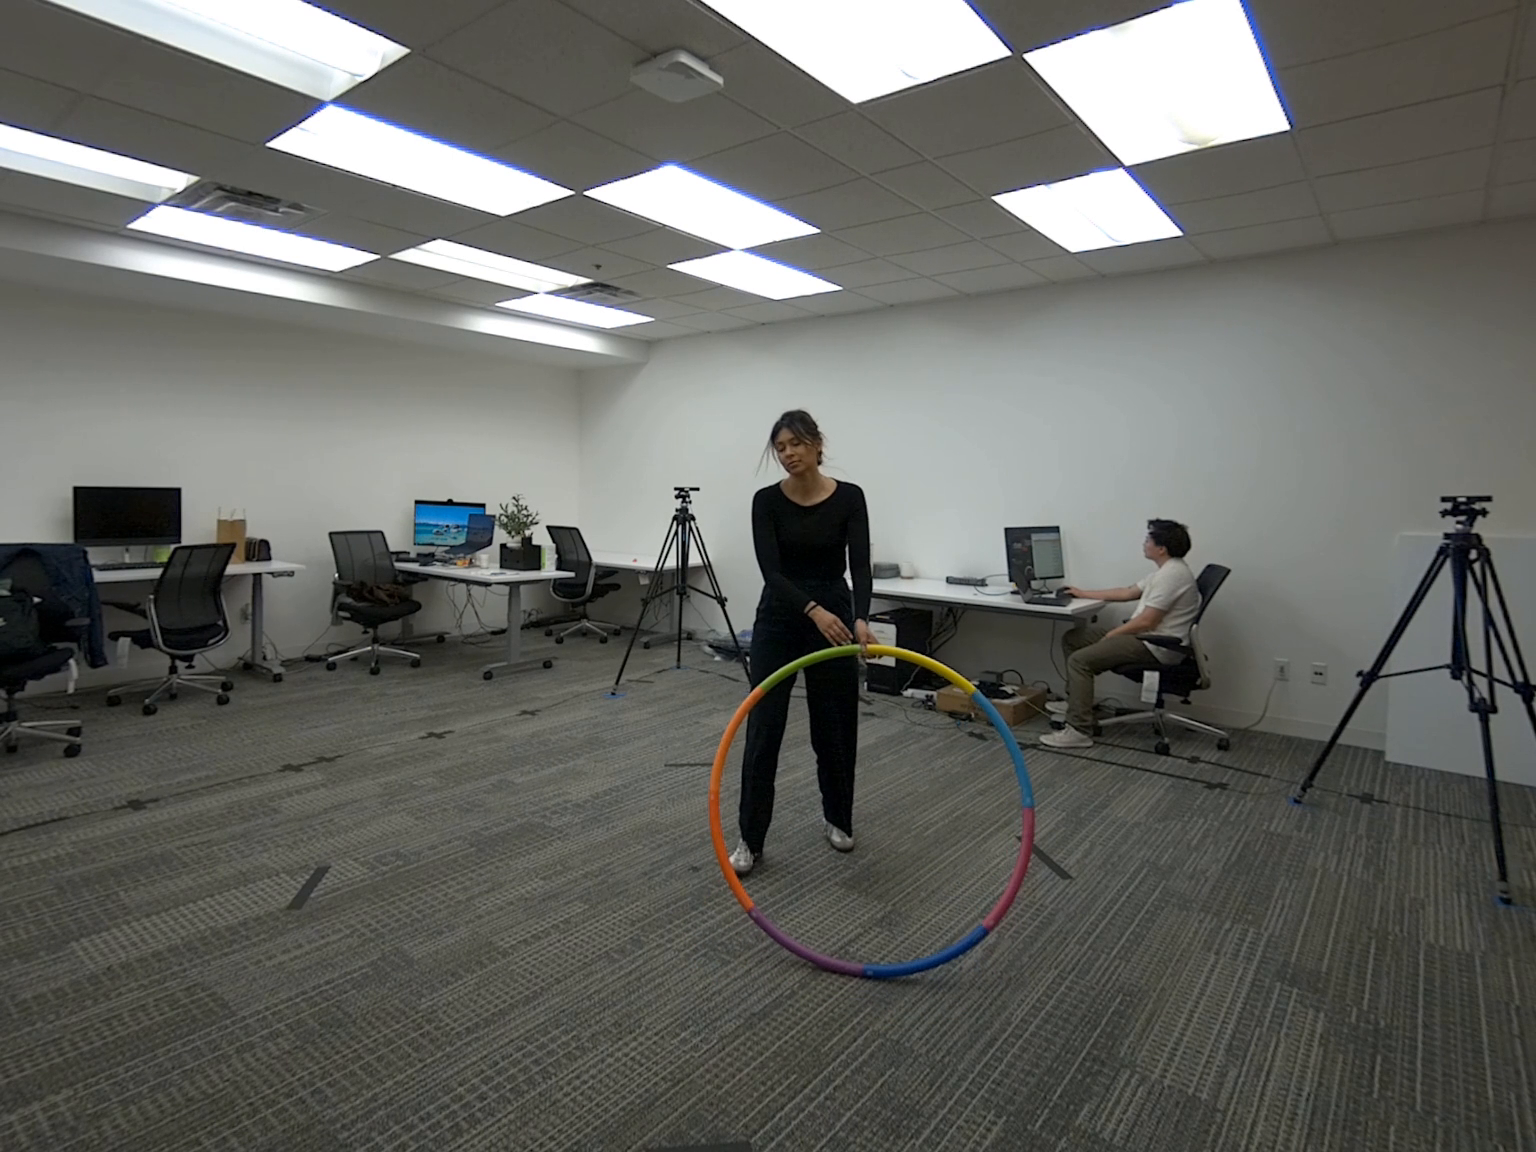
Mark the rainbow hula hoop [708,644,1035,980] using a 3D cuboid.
[{"bbox_3d":[0.290,0.690,2.624,0.994,0.996,0.034,1,-24,14],"label":"rainbow hula hoop"}]
